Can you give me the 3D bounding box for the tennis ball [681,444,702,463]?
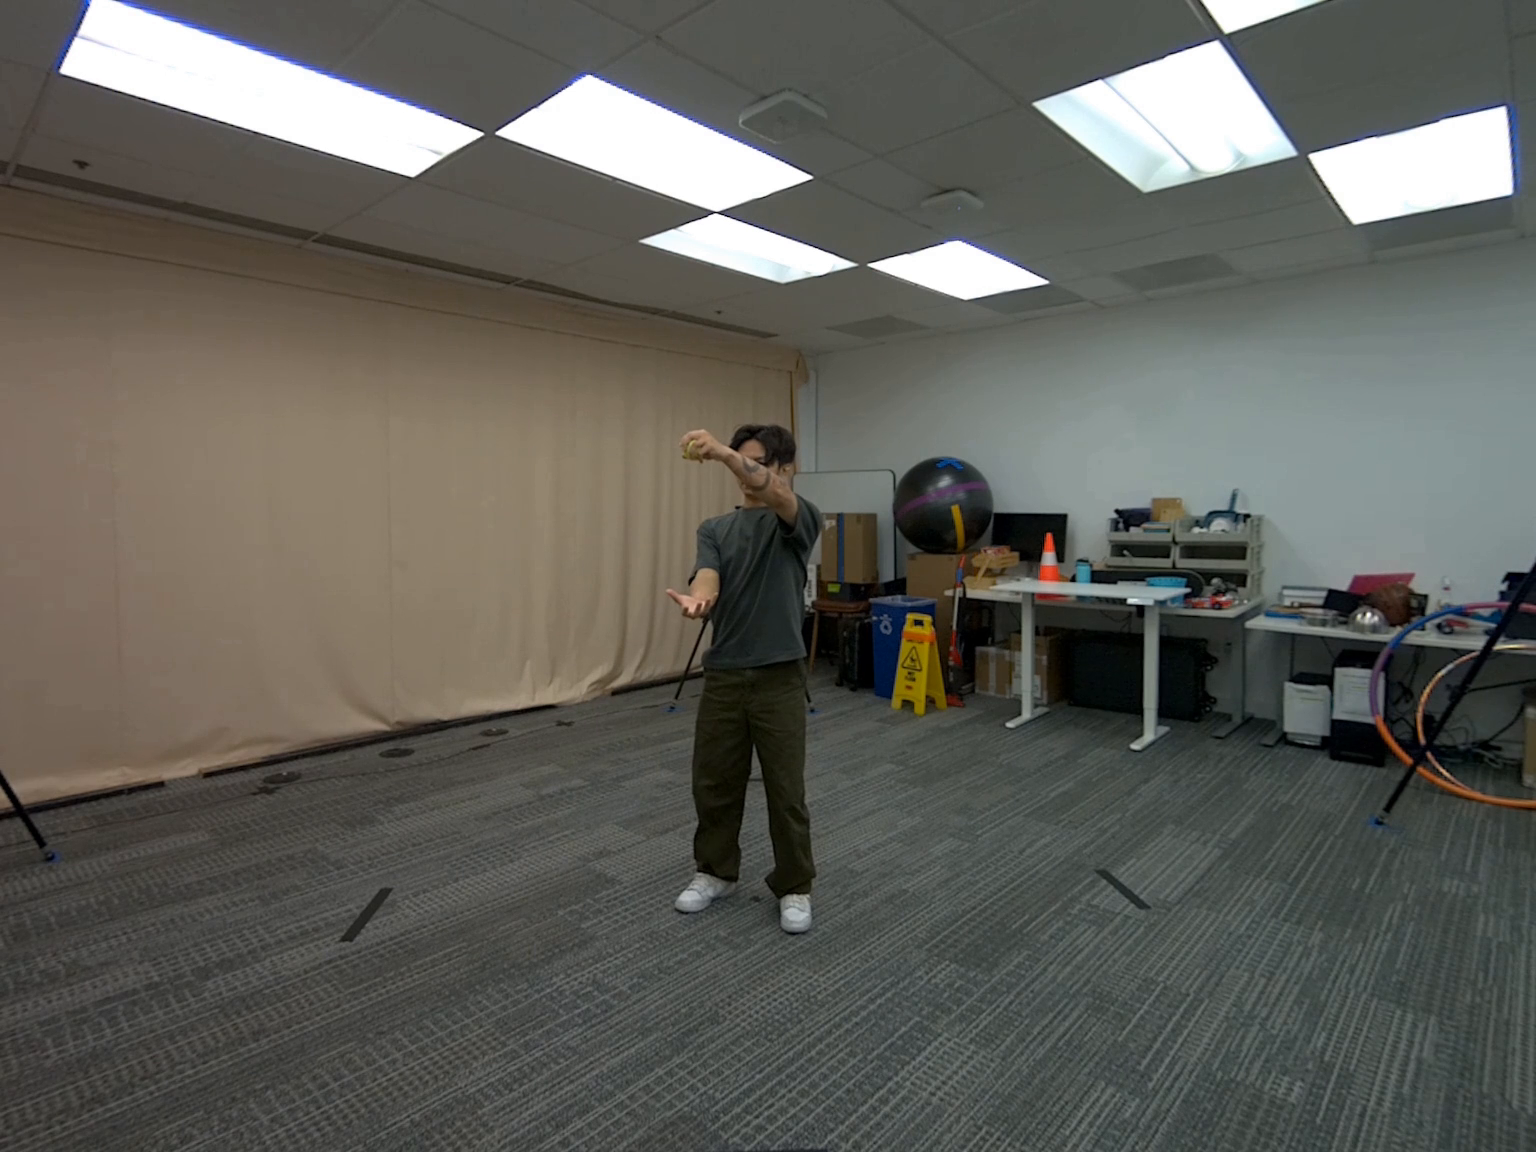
[{"bbox_3d":[-0.196,-0.373,2.399,0.066,0.066,0.067,0,4,-2],"label":"tennis ball"}]
